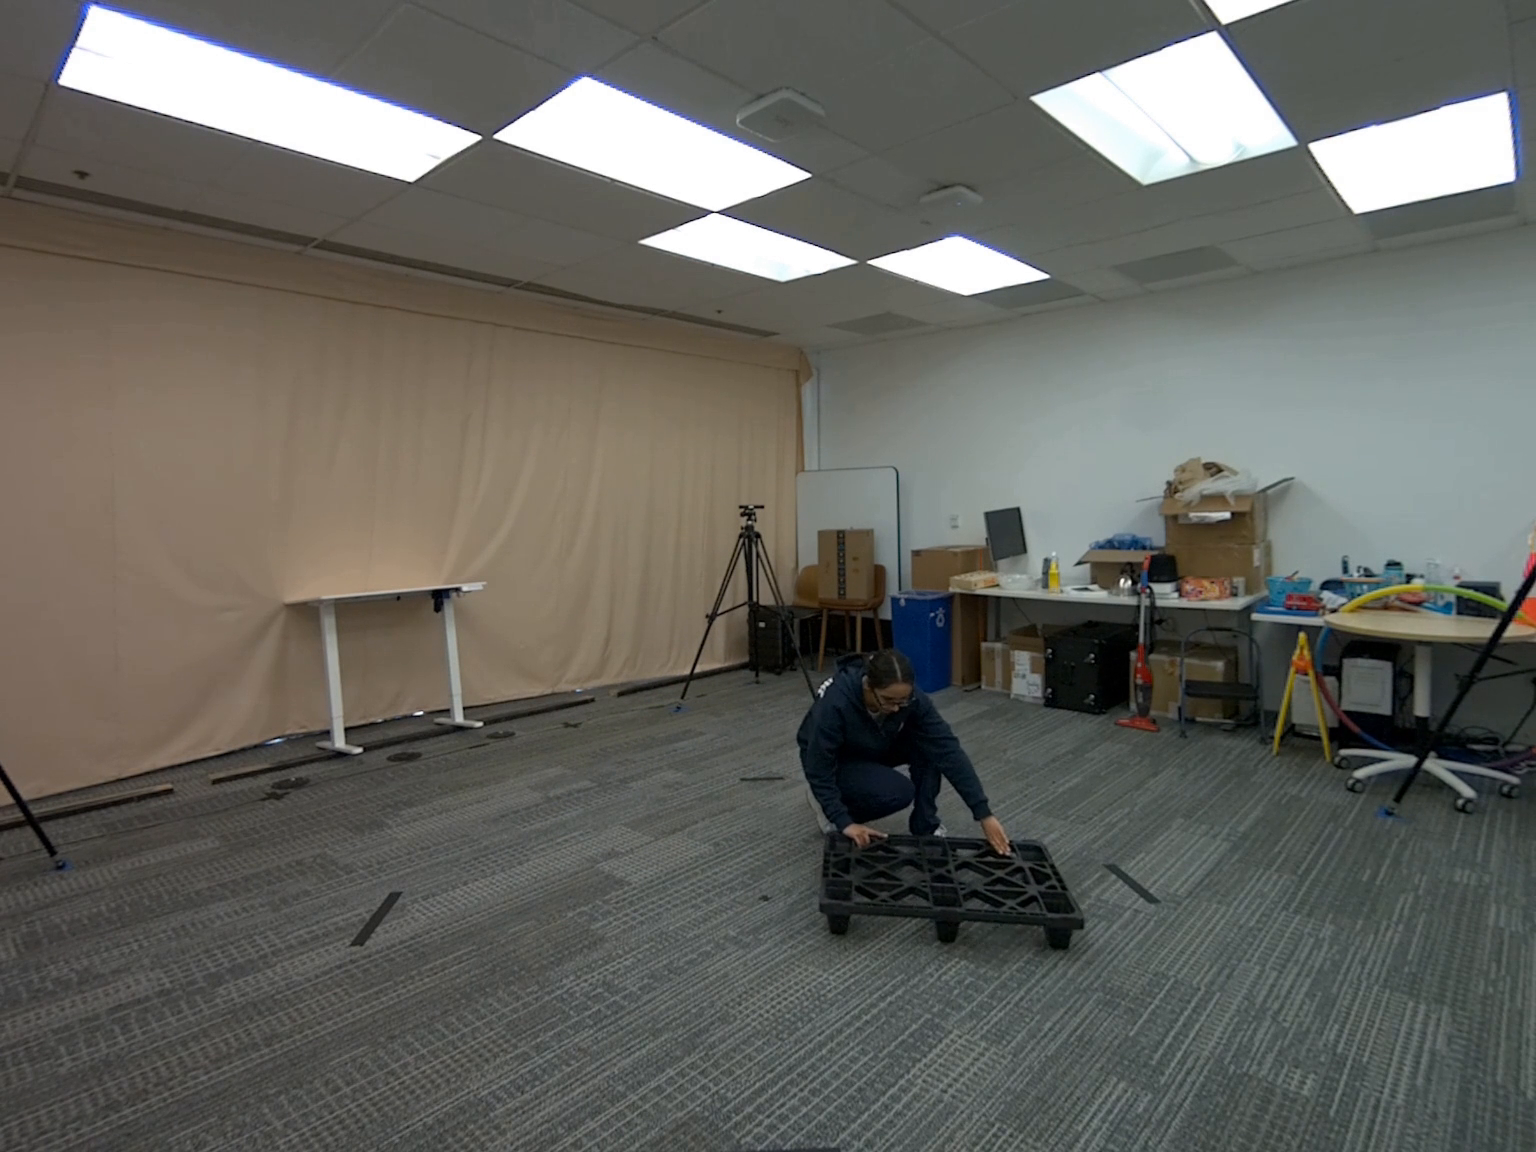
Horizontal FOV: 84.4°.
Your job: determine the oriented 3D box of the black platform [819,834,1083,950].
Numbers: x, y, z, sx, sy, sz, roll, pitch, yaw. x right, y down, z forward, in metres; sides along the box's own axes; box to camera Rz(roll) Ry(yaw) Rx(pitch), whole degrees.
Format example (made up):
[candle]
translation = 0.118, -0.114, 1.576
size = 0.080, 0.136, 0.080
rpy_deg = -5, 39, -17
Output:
[black platform]
translation = 0.582, 1.064, 2.889
size = 0.814, 0.143, 0.600
rpy_deg = 0, 4, 8
